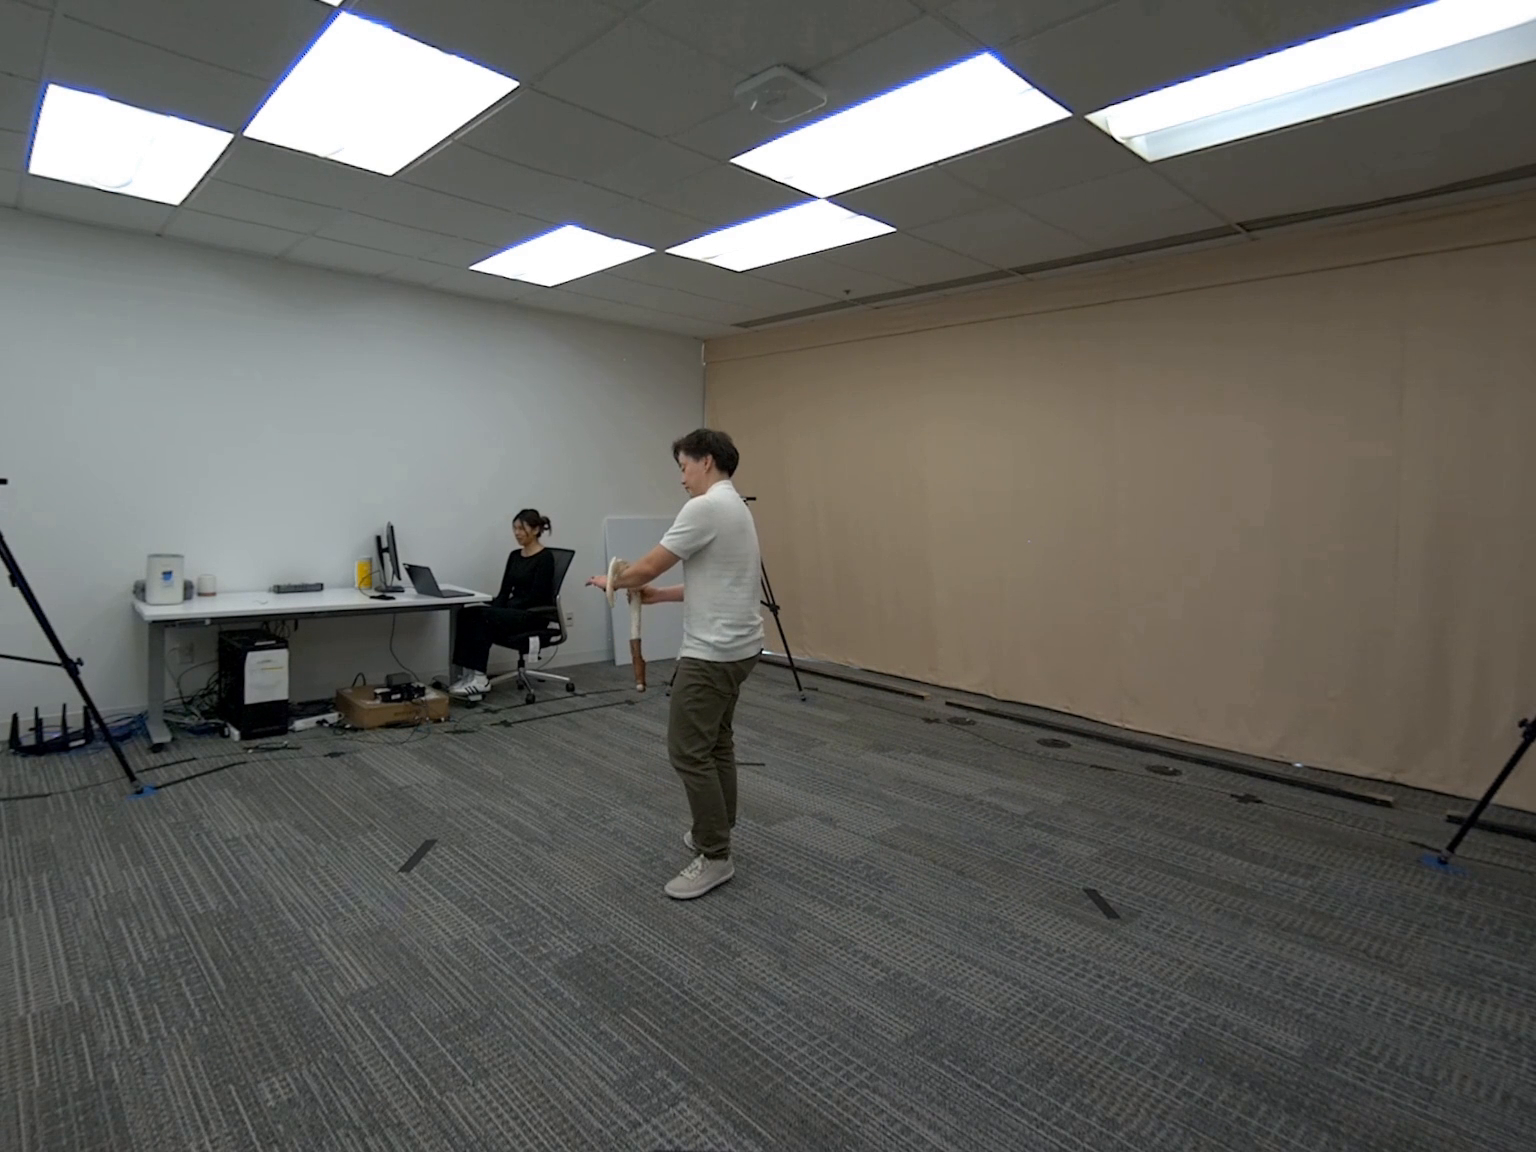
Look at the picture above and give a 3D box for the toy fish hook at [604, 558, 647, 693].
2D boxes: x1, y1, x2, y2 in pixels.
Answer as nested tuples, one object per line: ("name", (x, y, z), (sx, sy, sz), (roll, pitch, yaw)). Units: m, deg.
("toy fish hook", (-0.533, 0.184, 3.158), (0.049, 0.511, 0.219), (-13, -10, 25))
